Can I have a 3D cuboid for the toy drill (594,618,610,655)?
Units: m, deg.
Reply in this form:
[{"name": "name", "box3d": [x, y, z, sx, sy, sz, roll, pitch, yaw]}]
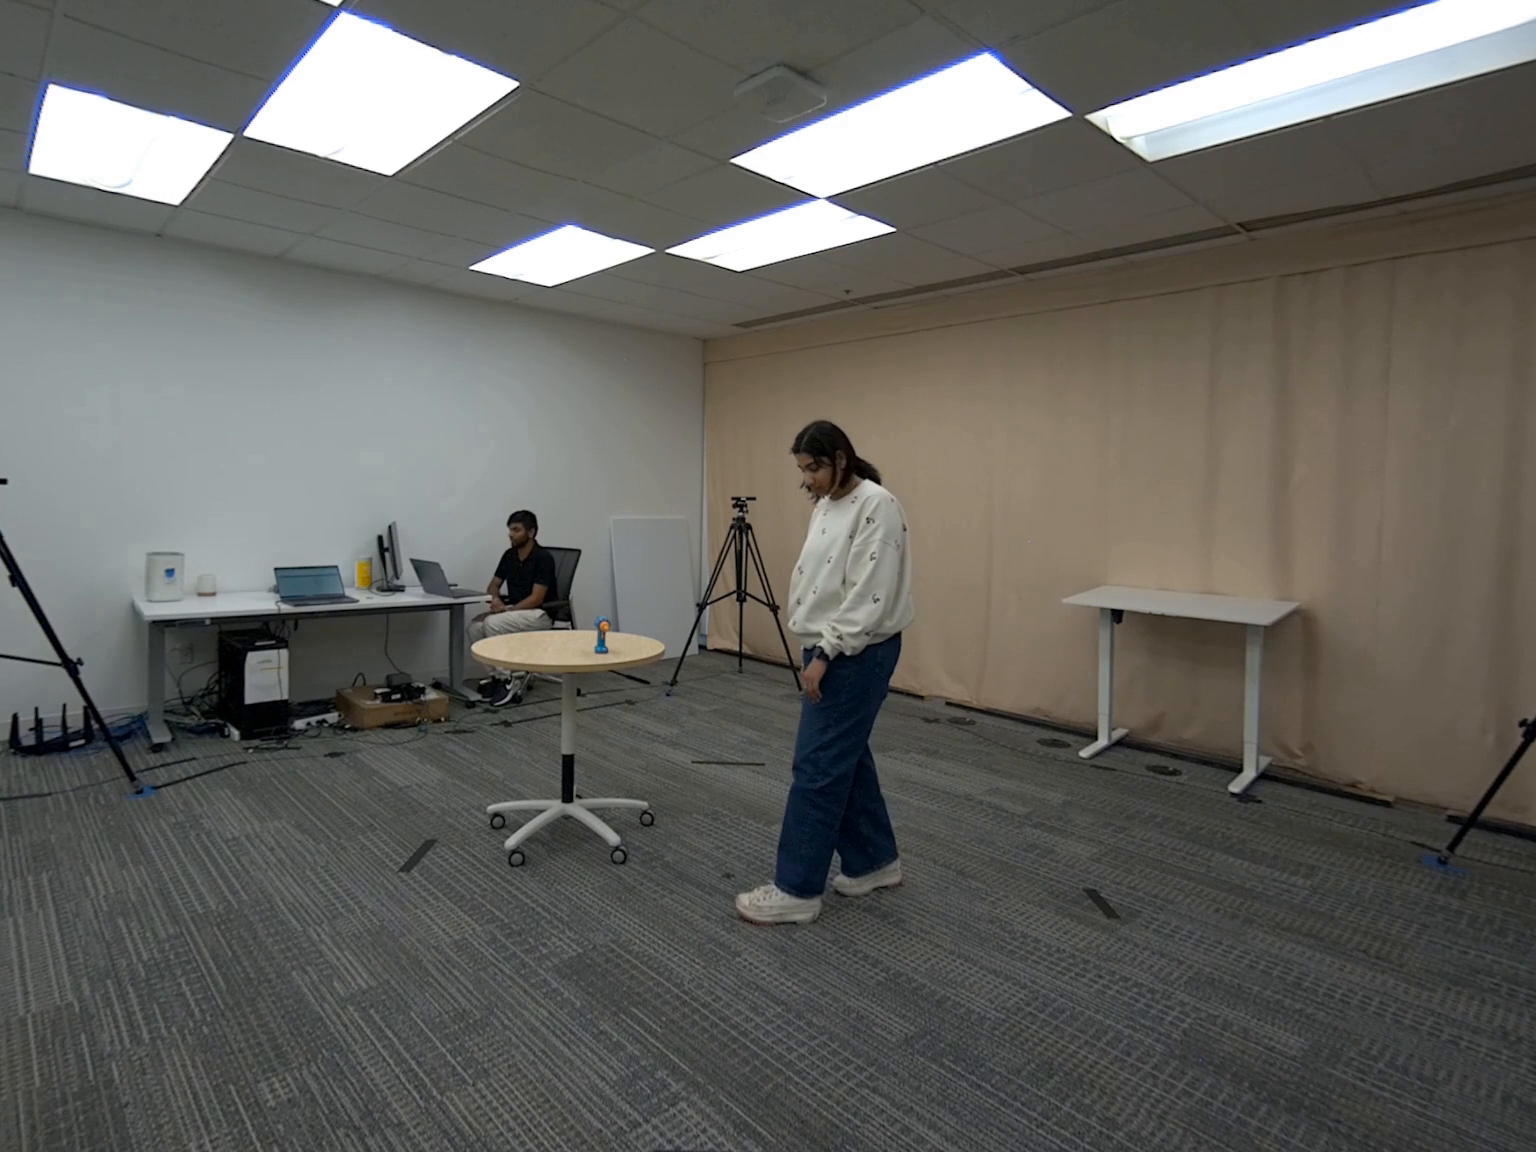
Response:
[{"name": "toy drill", "box3d": [-0.641, 0.229, 3.241, 0.060, 0.145, 0.173, 3, 5, -21]}]
